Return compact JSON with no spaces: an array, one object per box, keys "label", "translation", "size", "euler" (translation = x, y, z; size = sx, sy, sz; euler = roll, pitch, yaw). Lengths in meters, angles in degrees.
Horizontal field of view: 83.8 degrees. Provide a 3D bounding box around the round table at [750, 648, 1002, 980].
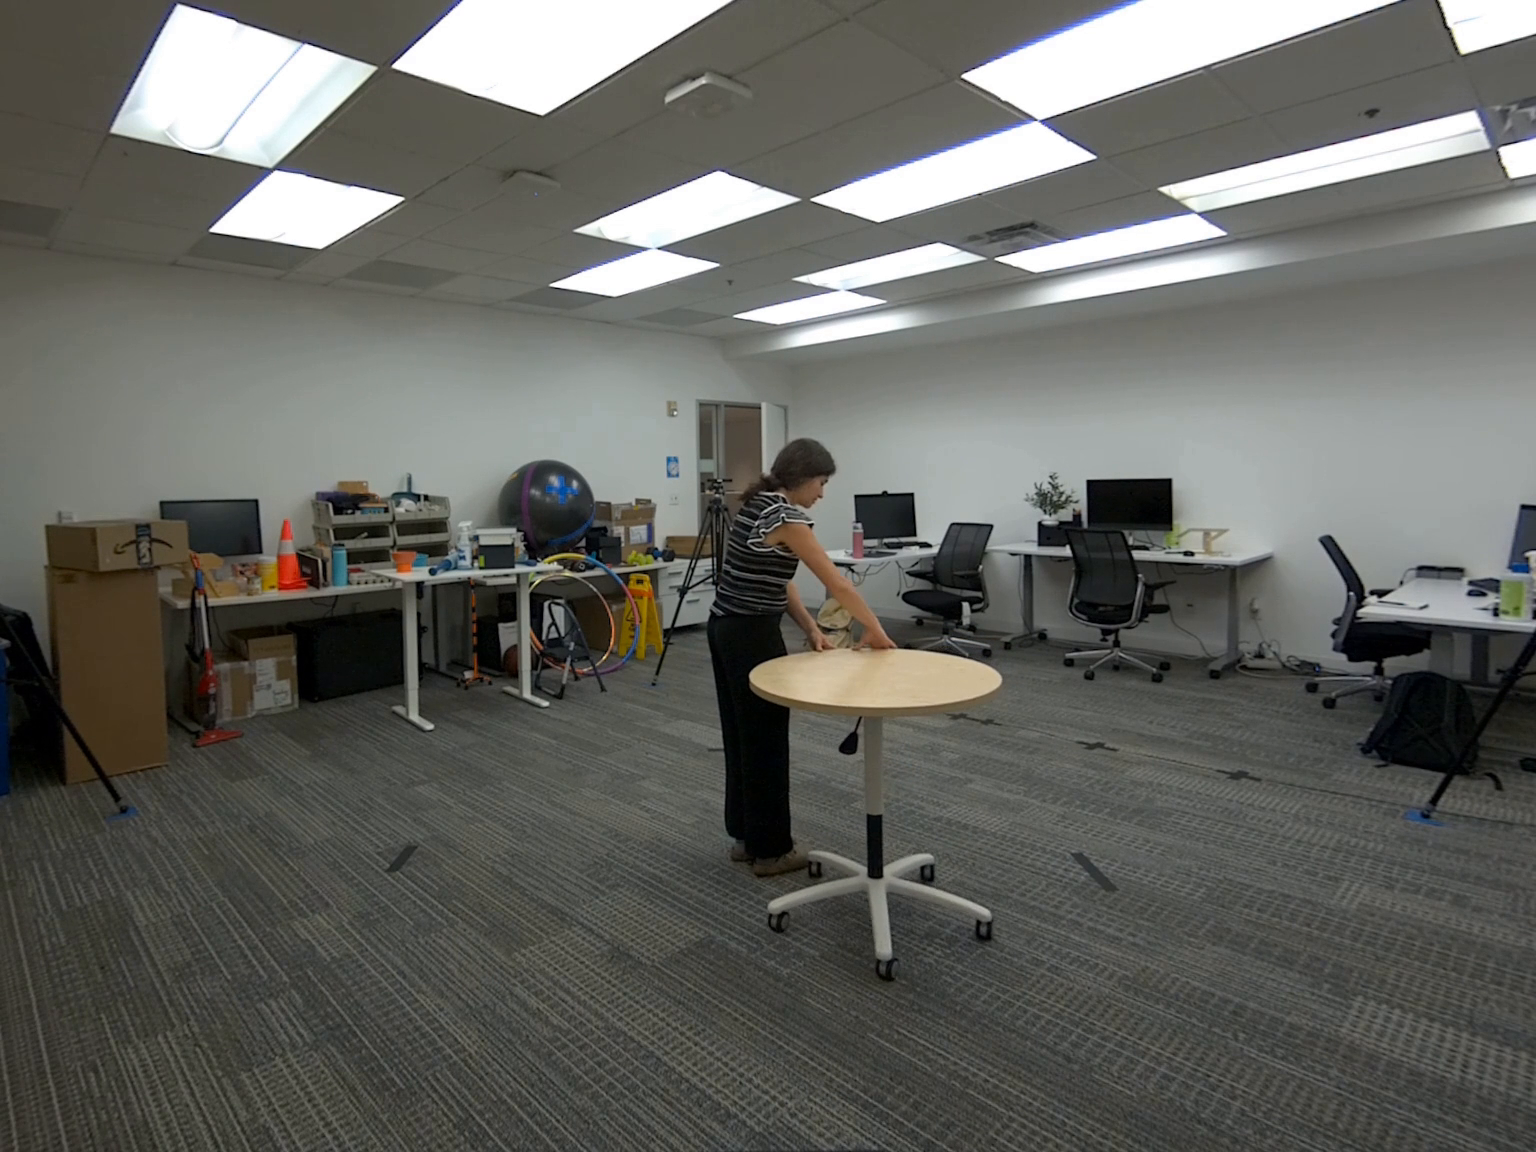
[{"label":"round table","translation":[0.339,0.690,2.691],"size":[0.784,0.783,0.790],"euler":[-1,6,-2]}]
